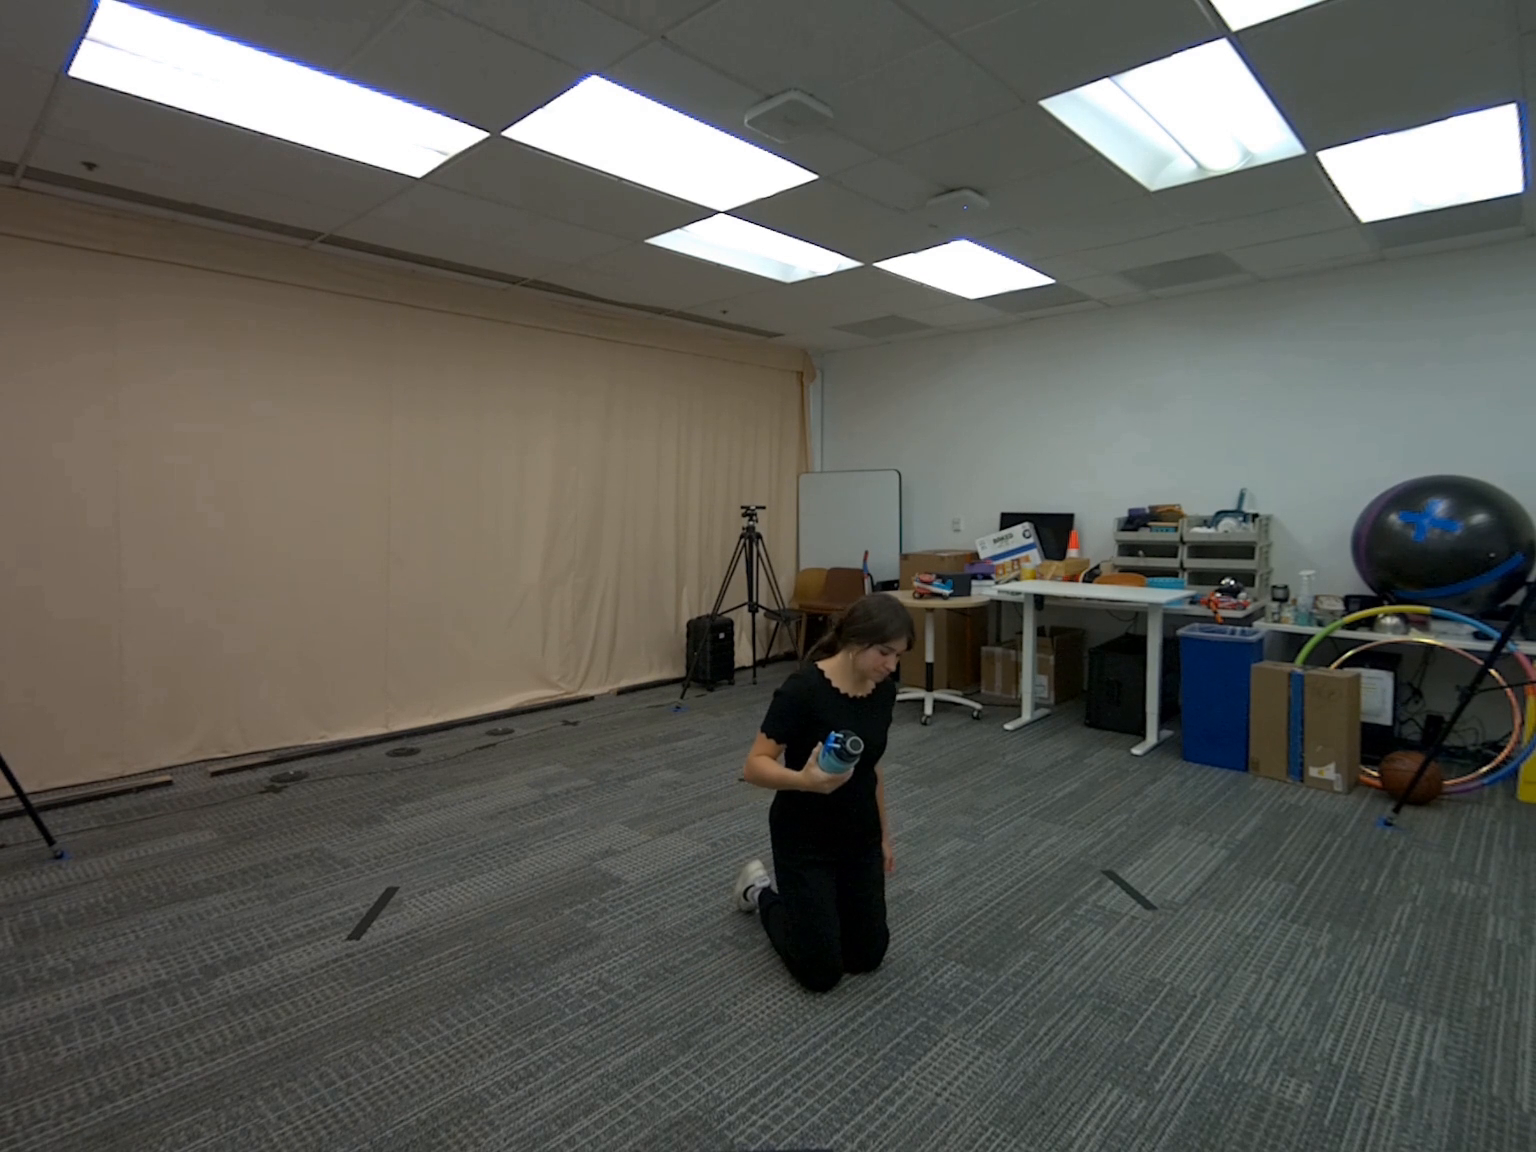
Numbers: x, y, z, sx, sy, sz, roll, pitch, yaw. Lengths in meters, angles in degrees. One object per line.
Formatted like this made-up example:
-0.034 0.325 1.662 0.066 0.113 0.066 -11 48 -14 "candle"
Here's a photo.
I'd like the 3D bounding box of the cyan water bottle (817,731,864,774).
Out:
0.173 0.475 2.172 0.091 0.094 0.281 0 -27 -10 "cyan water bottle"
